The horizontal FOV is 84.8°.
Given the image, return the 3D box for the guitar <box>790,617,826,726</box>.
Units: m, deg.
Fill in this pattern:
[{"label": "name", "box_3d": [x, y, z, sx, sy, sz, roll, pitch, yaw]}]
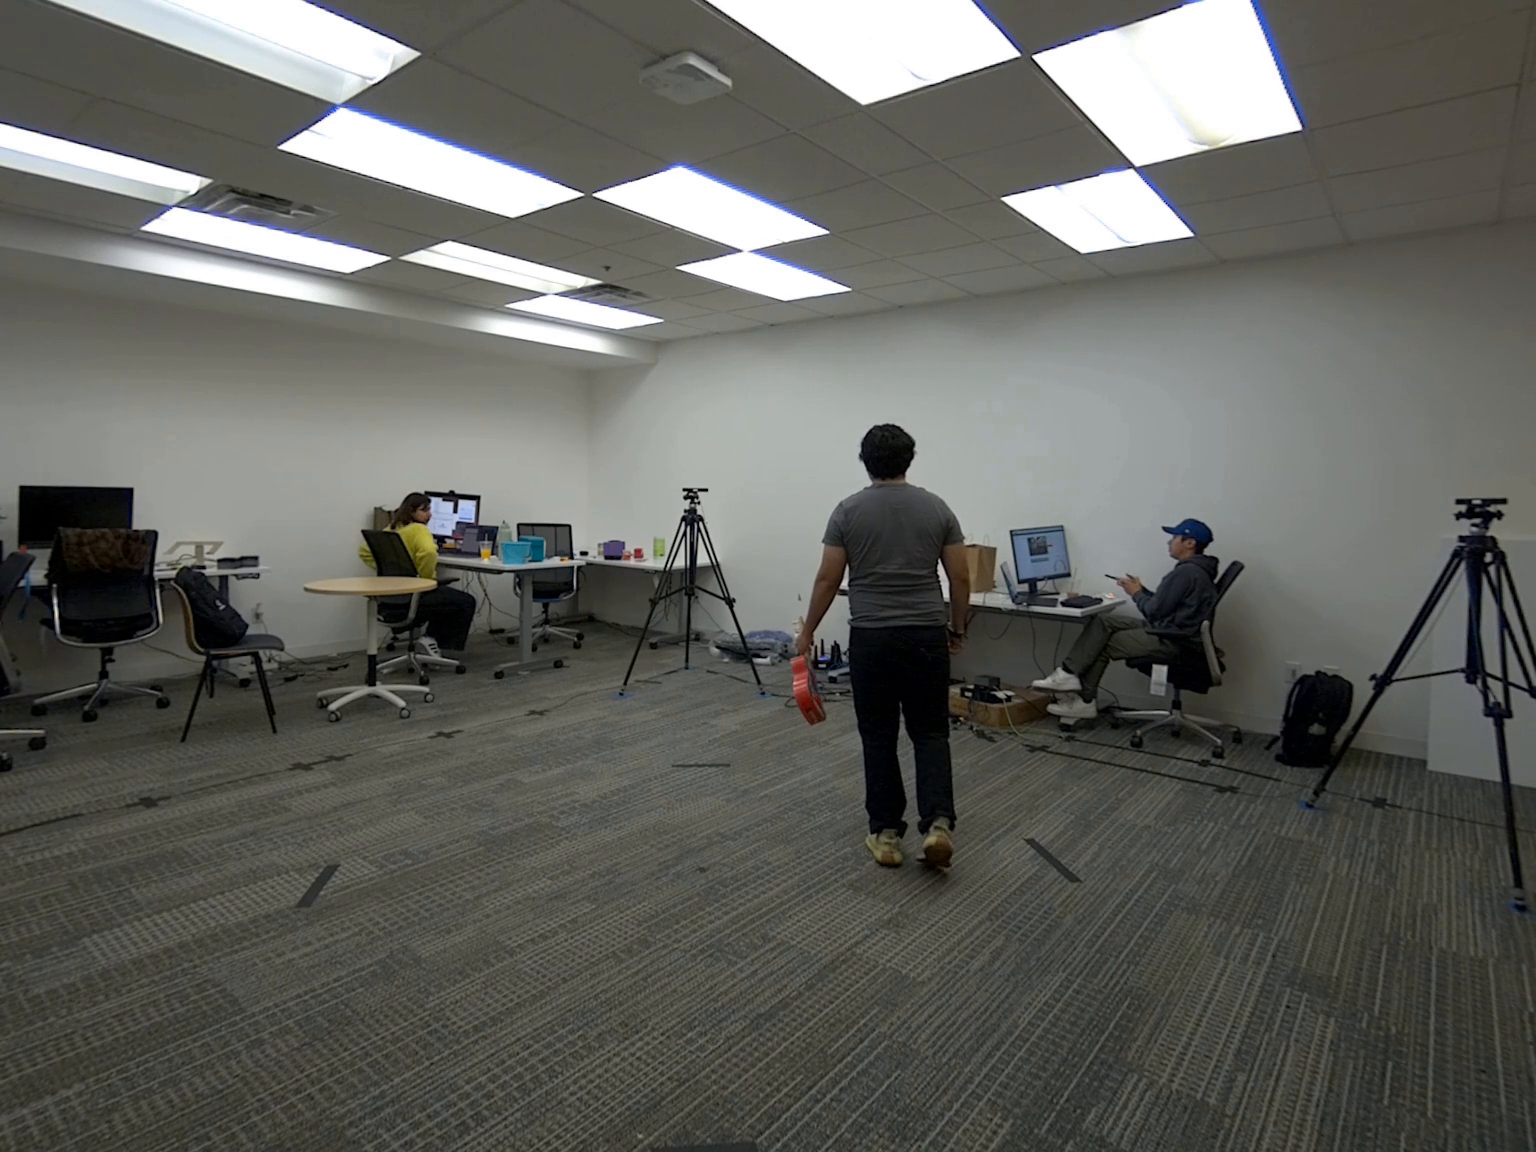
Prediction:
[{"label": "guitar", "box_3d": [0.152, 0.375, 3.415, 0.071, 0.186, 0.511, -22, 31, 12]}]
